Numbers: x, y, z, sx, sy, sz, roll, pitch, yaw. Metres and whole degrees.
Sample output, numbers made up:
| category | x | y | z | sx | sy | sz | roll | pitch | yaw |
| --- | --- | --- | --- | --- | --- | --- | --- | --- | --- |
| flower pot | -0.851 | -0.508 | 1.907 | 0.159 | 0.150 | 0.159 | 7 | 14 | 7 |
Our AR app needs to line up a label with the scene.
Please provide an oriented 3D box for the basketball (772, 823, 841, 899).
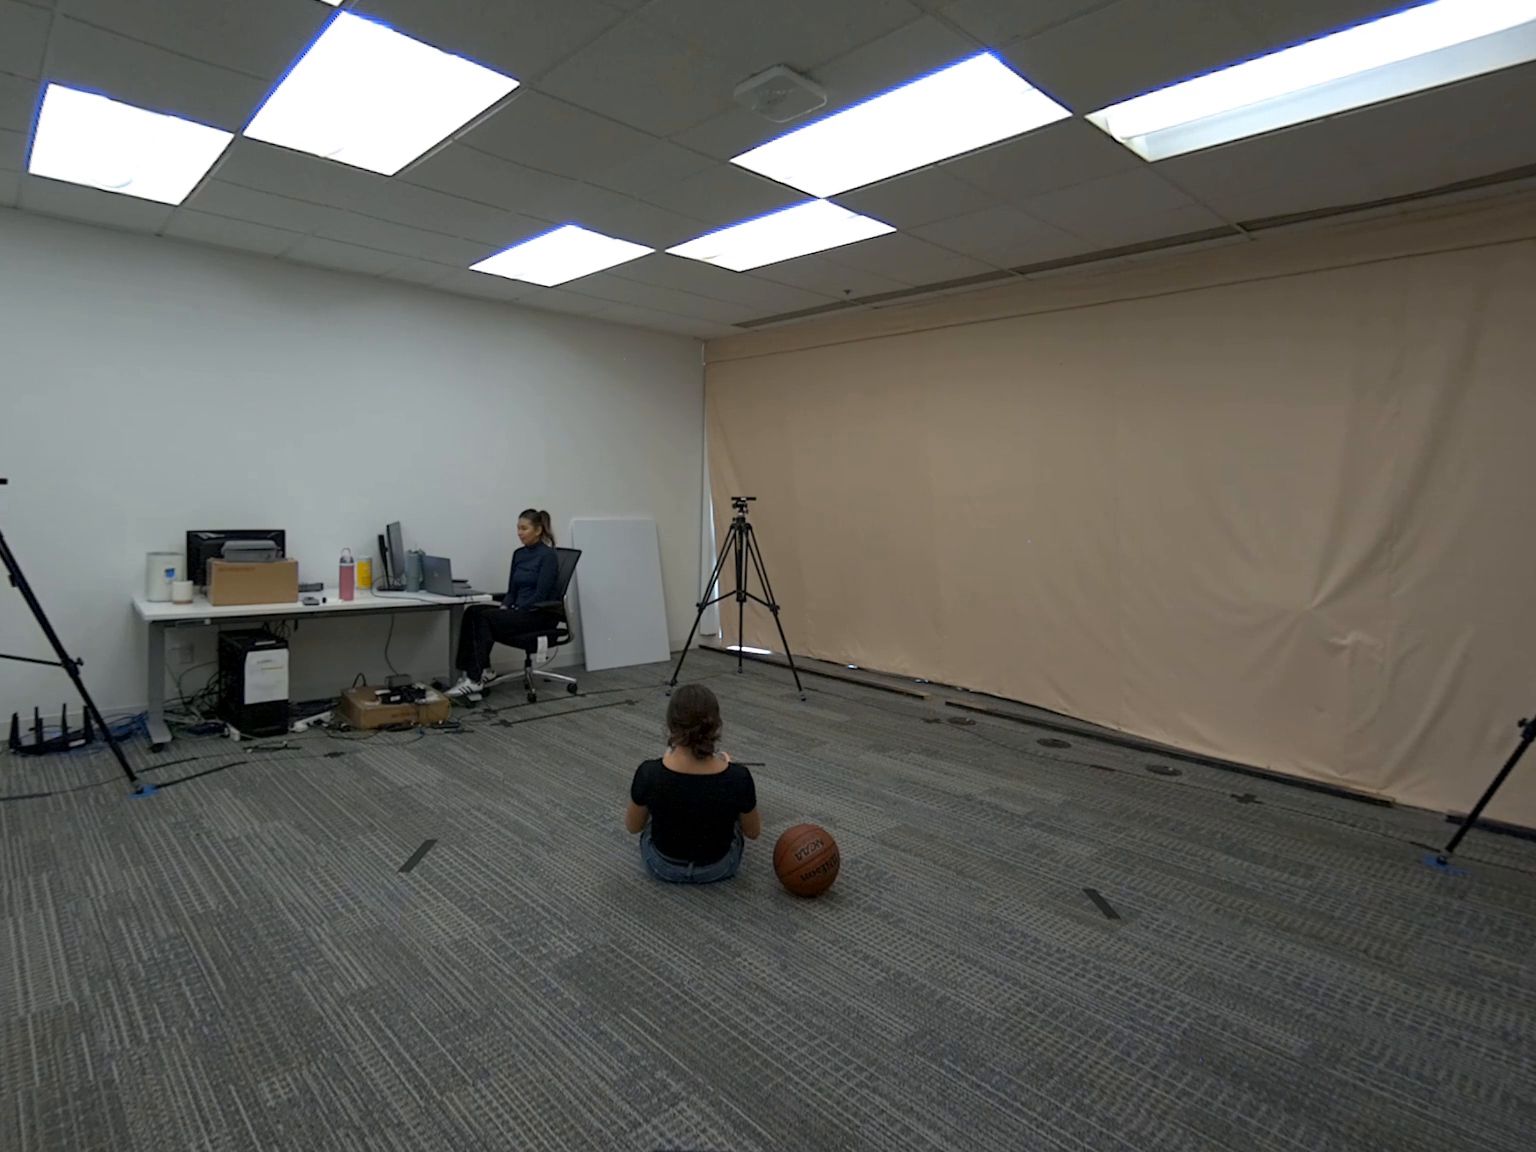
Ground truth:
| category | x | y | z | sx | sy | sz | roll | pitch | yaw |
| --- | --- | --- | --- | --- | --- | --- | --- | --- | --- |
| basketball | 0.130 | 1.000 | 2.980 | 0.236 | 0.235 | 0.237 | 1 | 4 | -1 |
